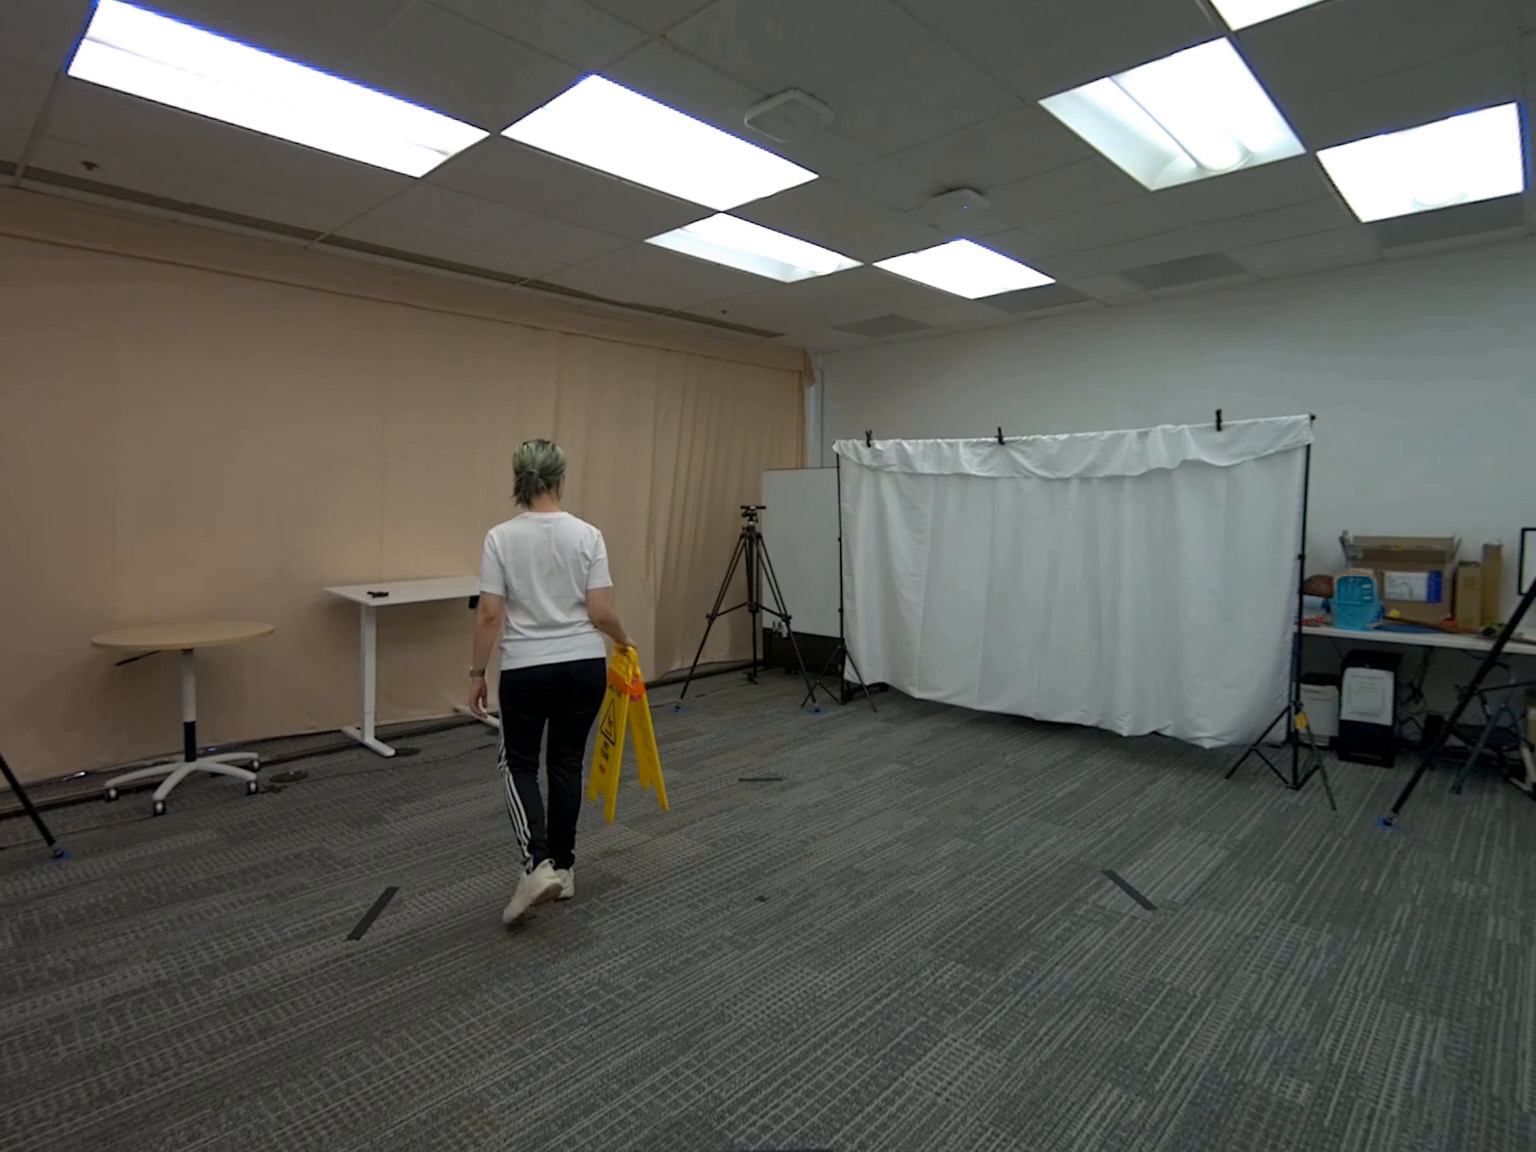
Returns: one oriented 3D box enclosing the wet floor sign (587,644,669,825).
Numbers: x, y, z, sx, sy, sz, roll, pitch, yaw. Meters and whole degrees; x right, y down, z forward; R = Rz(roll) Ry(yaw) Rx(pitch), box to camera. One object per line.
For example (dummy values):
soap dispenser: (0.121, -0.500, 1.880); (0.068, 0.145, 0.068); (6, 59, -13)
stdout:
wet floor sign: (-0.550, 0.577, 3.276); (0.282, 0.642, 0.291); (-3, 10, -28)
